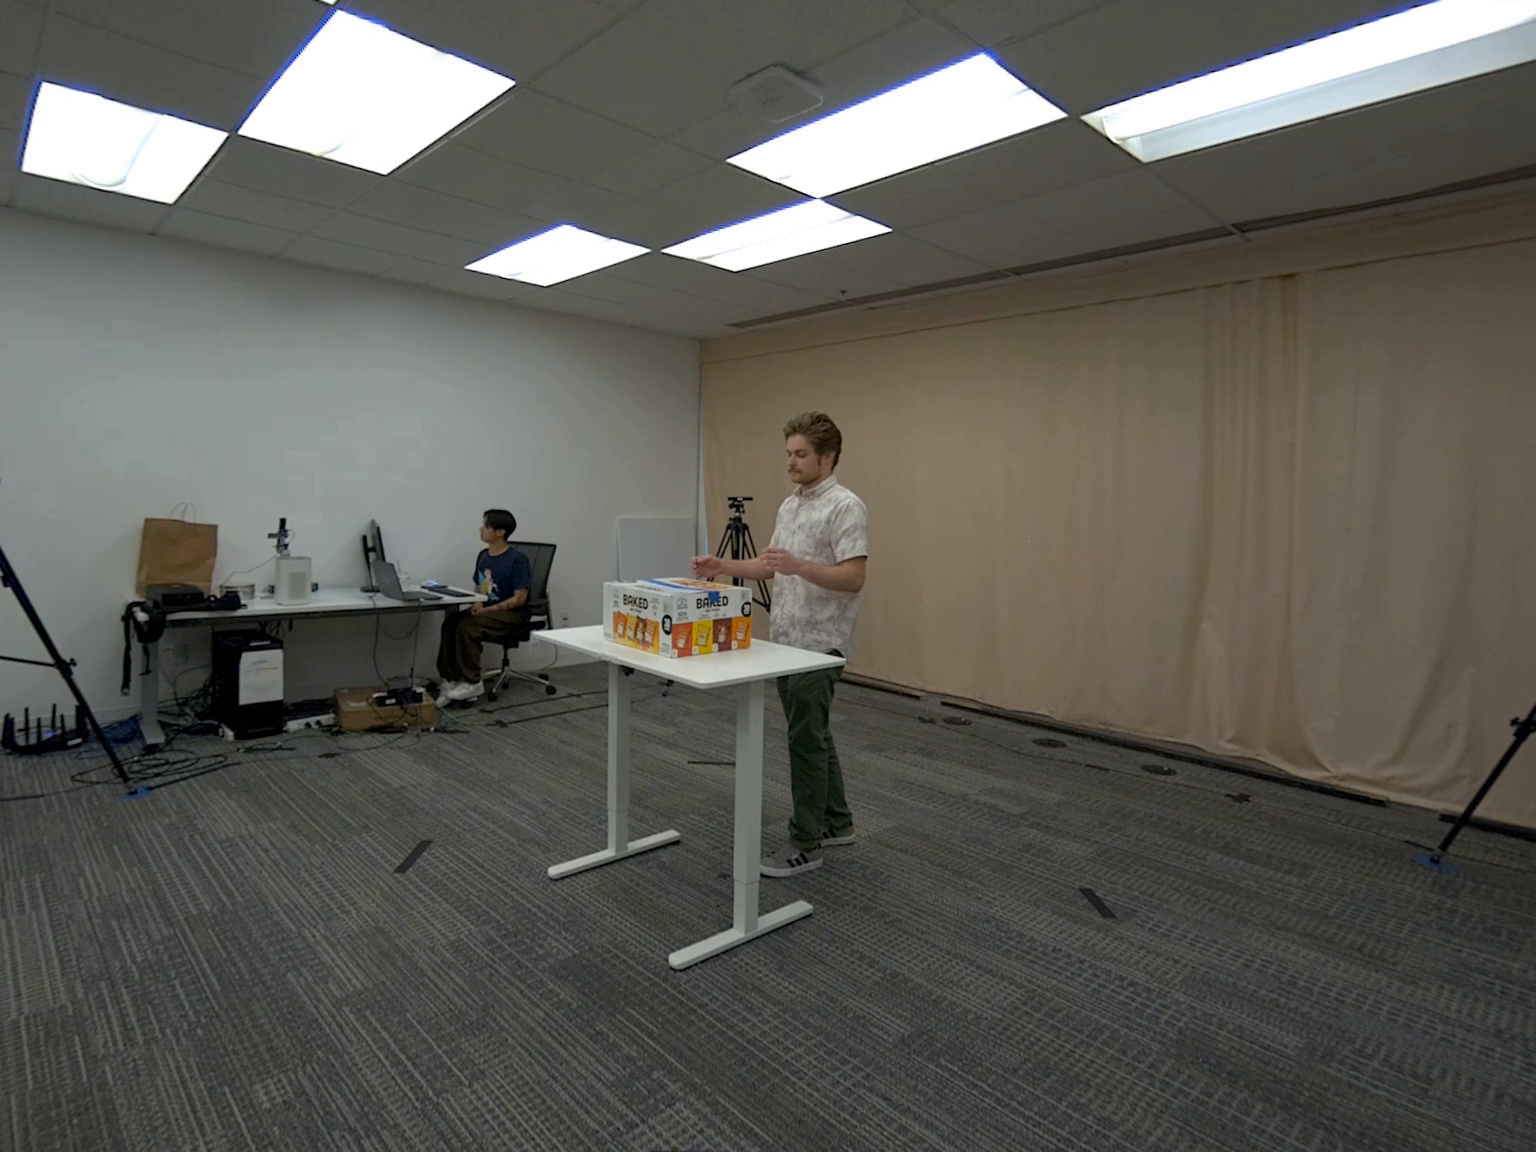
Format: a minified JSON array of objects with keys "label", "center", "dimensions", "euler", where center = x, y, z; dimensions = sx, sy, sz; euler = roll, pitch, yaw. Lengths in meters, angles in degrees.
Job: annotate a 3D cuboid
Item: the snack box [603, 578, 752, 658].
[{"label":"snack box","center":[-0.325,0.135,2.912],"dimensions":[0.332,0.205,0.416],"euler":[-3,7,-42]}]
